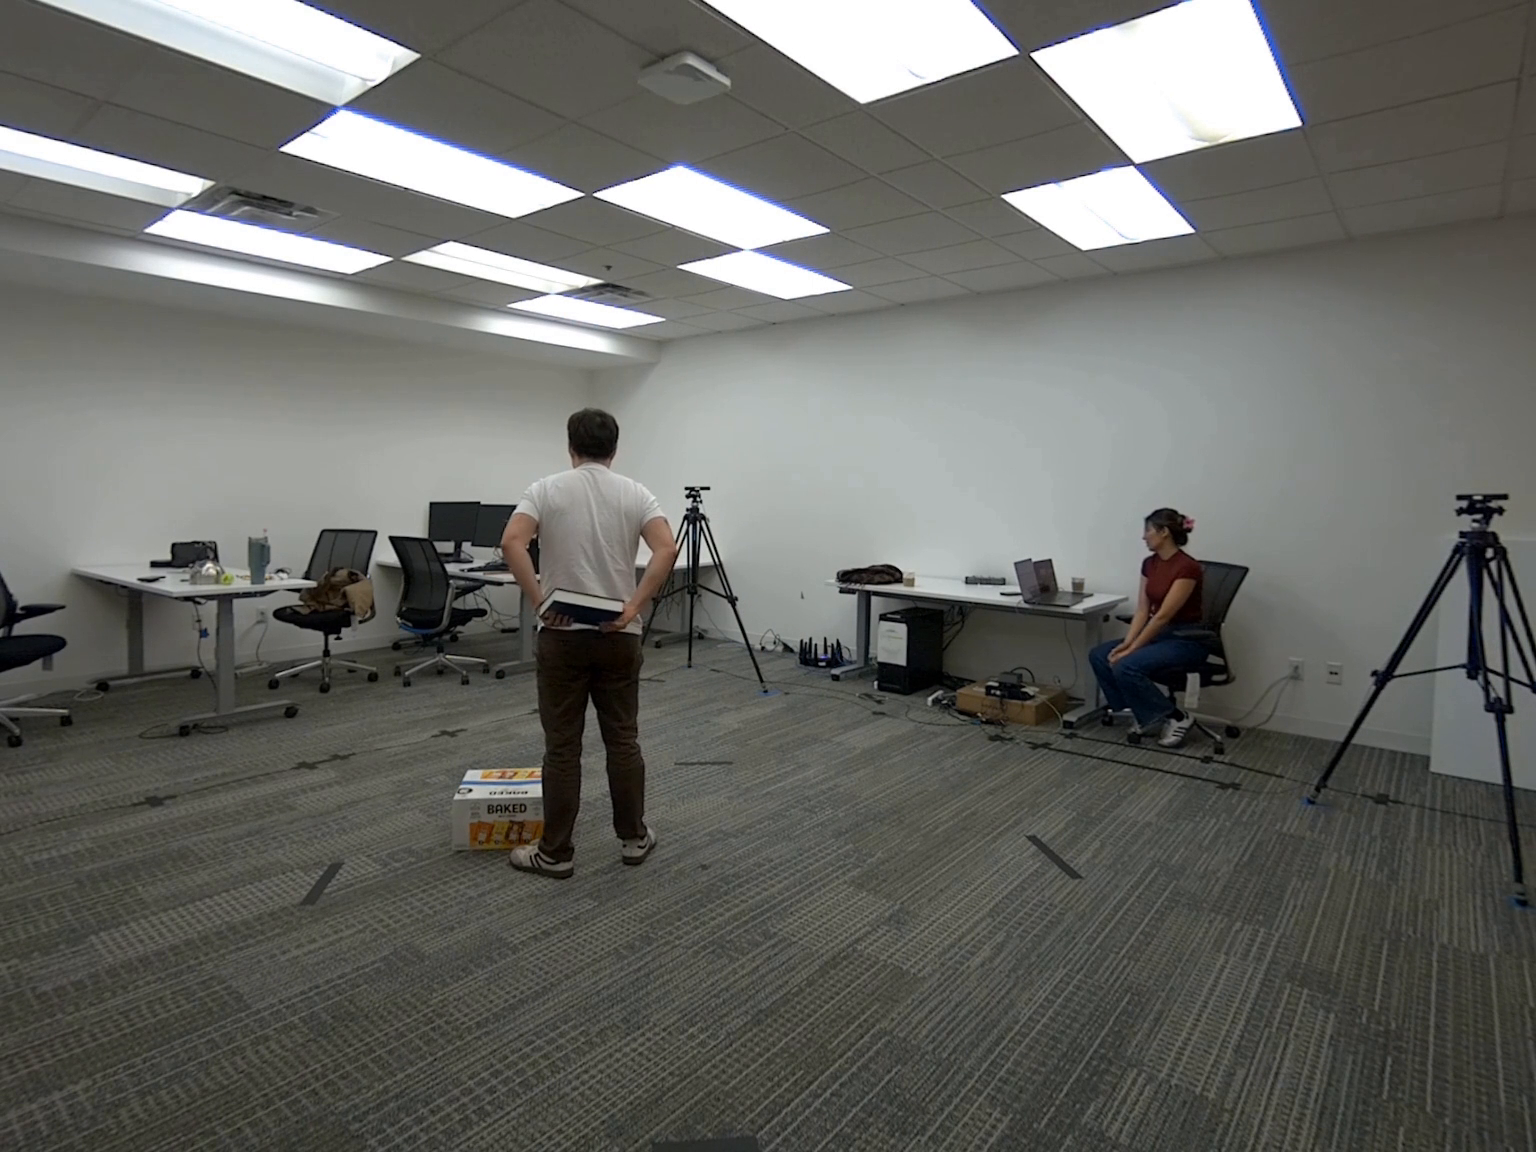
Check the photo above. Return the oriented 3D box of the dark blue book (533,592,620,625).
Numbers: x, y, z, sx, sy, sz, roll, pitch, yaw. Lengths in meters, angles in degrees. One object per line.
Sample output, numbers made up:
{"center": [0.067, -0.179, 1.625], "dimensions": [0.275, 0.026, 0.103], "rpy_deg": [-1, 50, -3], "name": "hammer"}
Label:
{"center": [-0.651, 0.100, 2.849], "dimensions": [0.237, 0.046, 0.165], "rpy_deg": [11, -27, -31], "name": "dark blue book"}
